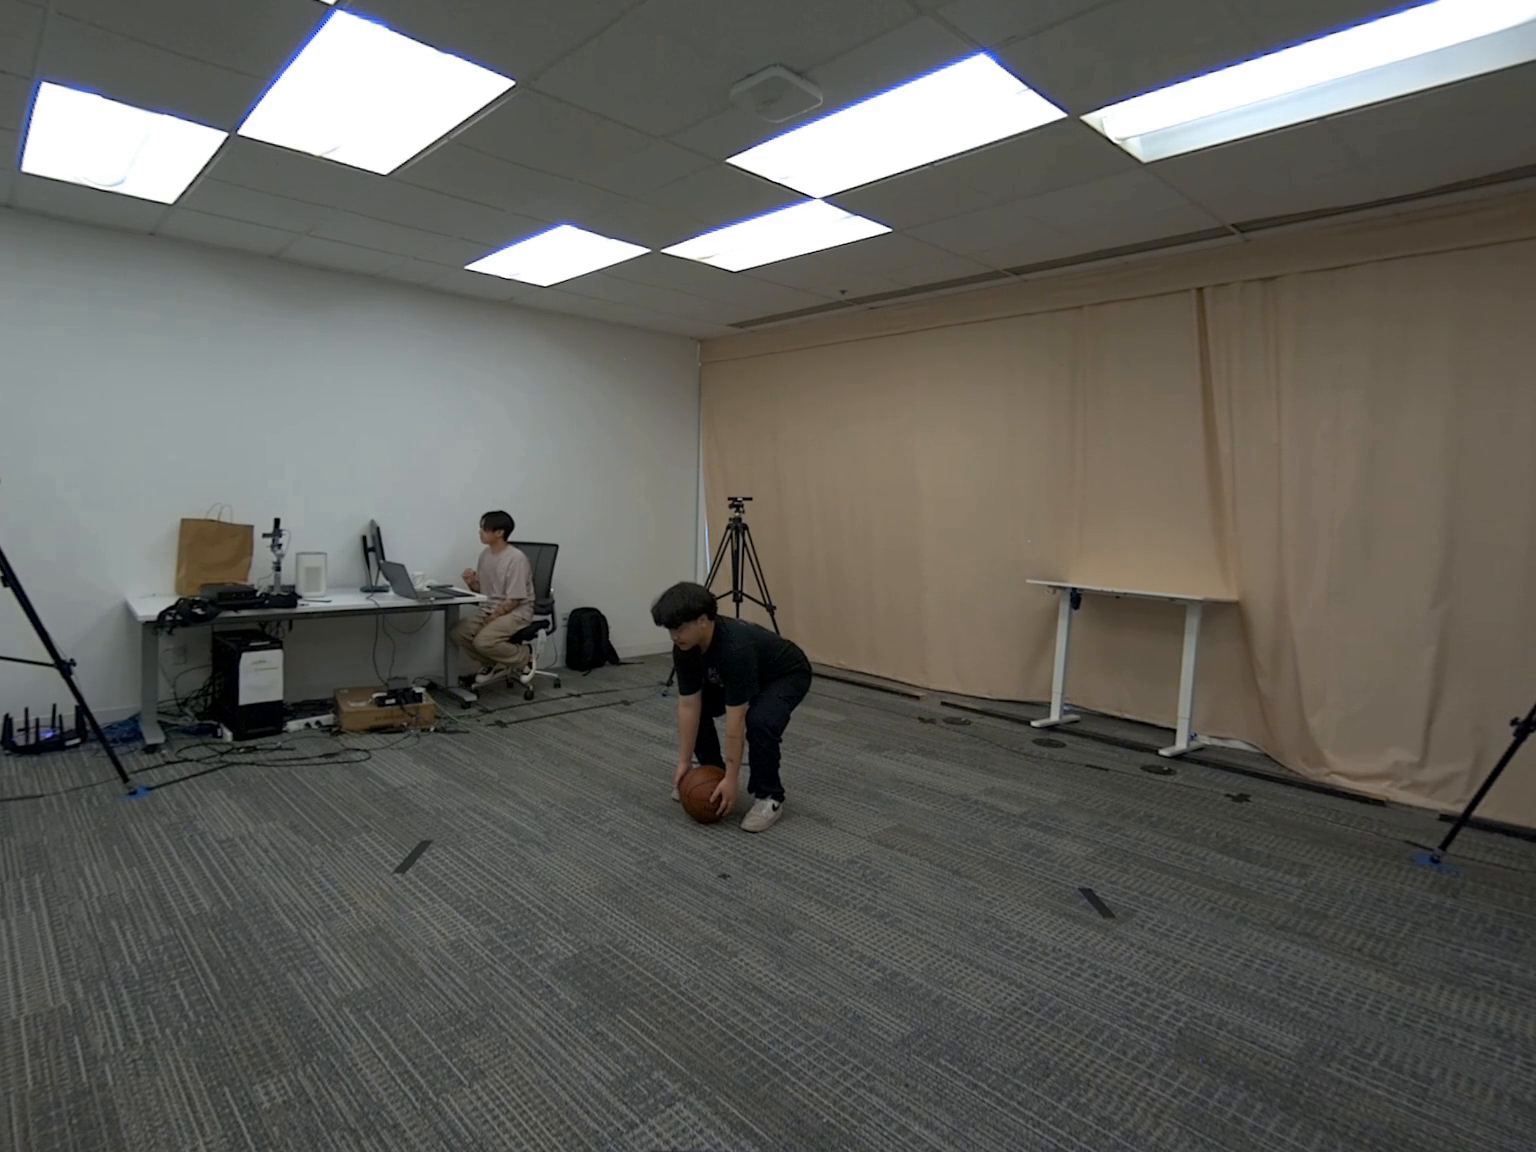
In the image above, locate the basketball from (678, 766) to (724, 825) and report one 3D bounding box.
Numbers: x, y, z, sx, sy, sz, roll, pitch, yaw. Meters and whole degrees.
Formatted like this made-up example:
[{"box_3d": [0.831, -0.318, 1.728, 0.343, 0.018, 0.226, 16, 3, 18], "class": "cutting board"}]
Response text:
[{"box_3d": [-0.271, 0.933, 3.627, 0.236, 0.235, 0.237, 1, 4, -1], "class": "basketball"}]
